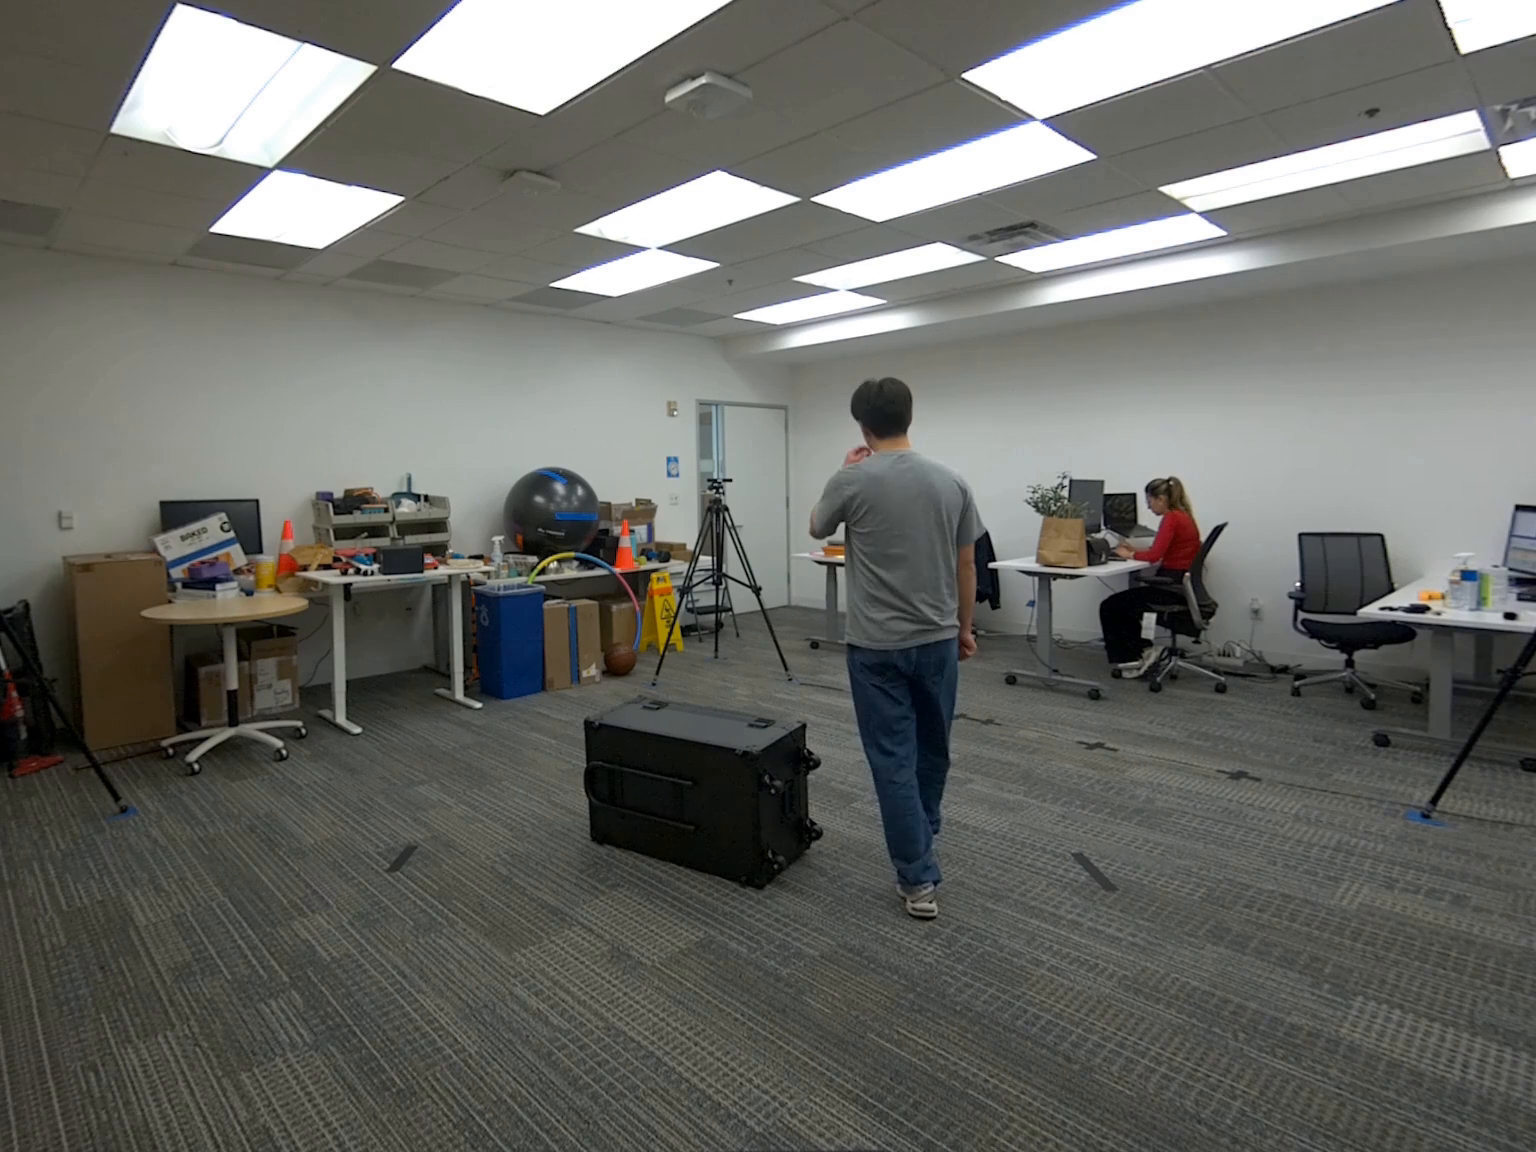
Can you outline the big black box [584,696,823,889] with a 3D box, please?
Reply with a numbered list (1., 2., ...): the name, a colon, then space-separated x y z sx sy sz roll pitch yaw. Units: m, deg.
1. big black box: -0.256 0.781 3.215 0.885 0.518 0.388 2 8 32
